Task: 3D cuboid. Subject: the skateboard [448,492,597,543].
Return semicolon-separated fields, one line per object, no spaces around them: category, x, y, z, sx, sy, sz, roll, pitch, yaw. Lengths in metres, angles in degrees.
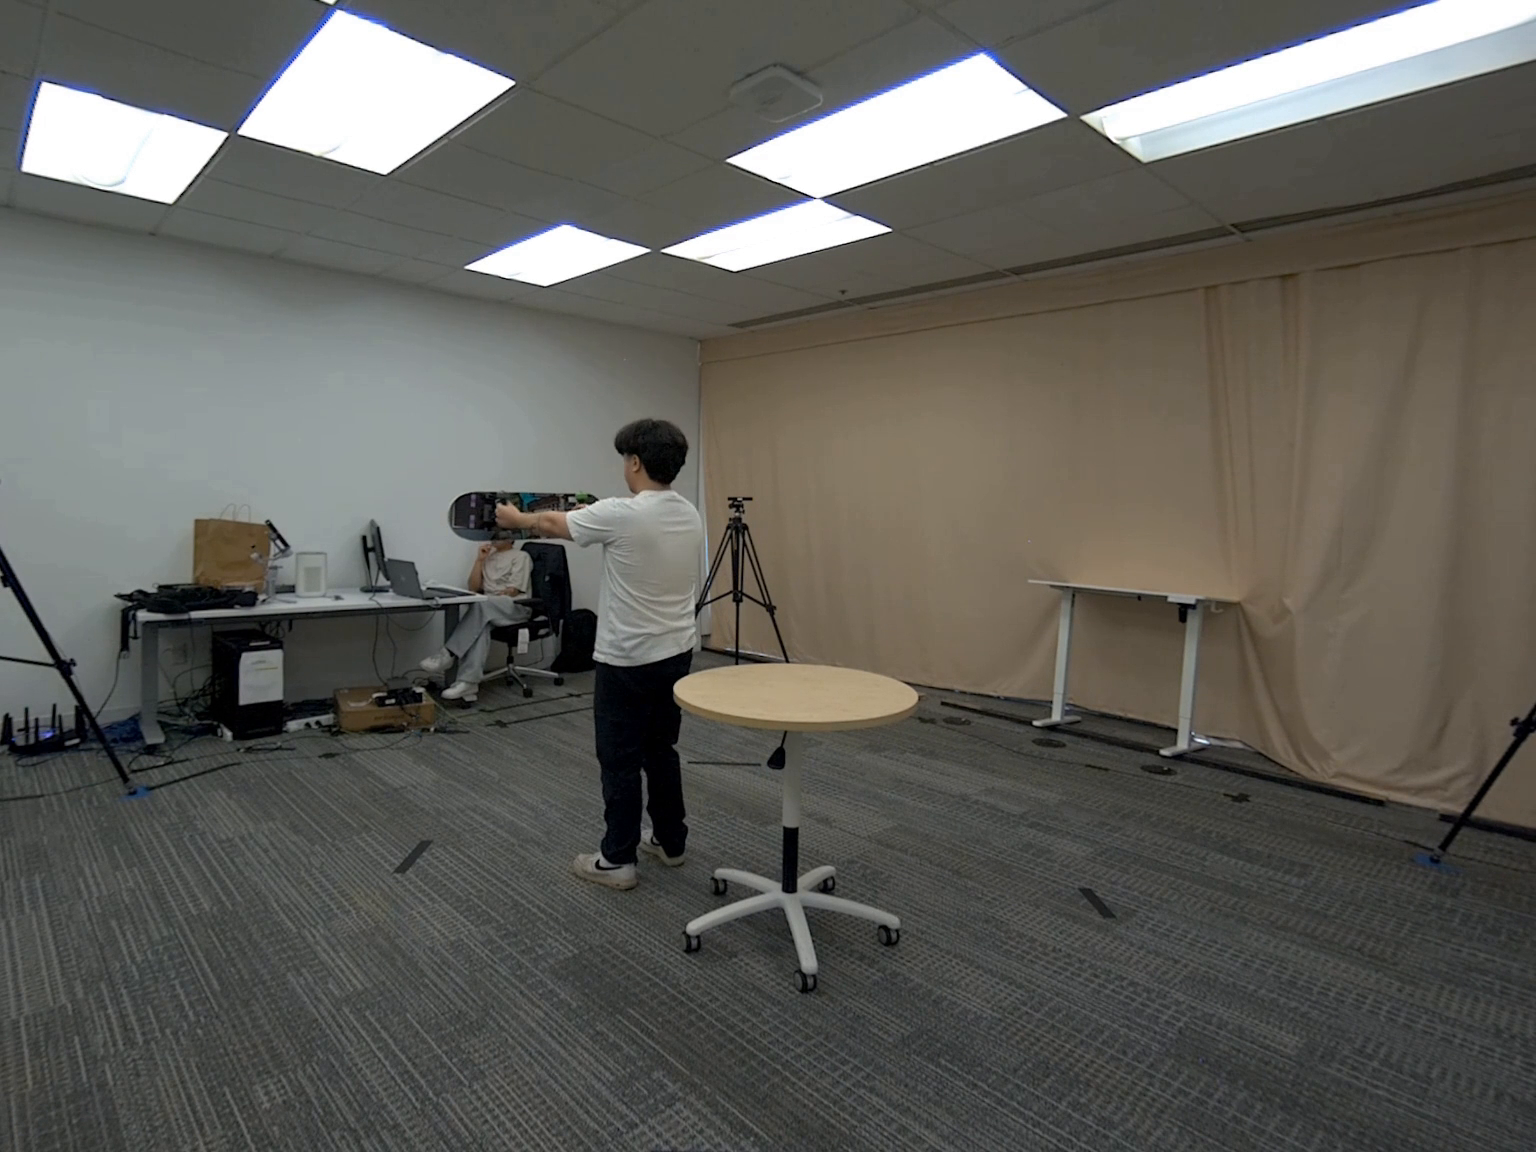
skateboard;-0.928;-0.242;3.438;0.113;0.193;0.769;0;4;37
